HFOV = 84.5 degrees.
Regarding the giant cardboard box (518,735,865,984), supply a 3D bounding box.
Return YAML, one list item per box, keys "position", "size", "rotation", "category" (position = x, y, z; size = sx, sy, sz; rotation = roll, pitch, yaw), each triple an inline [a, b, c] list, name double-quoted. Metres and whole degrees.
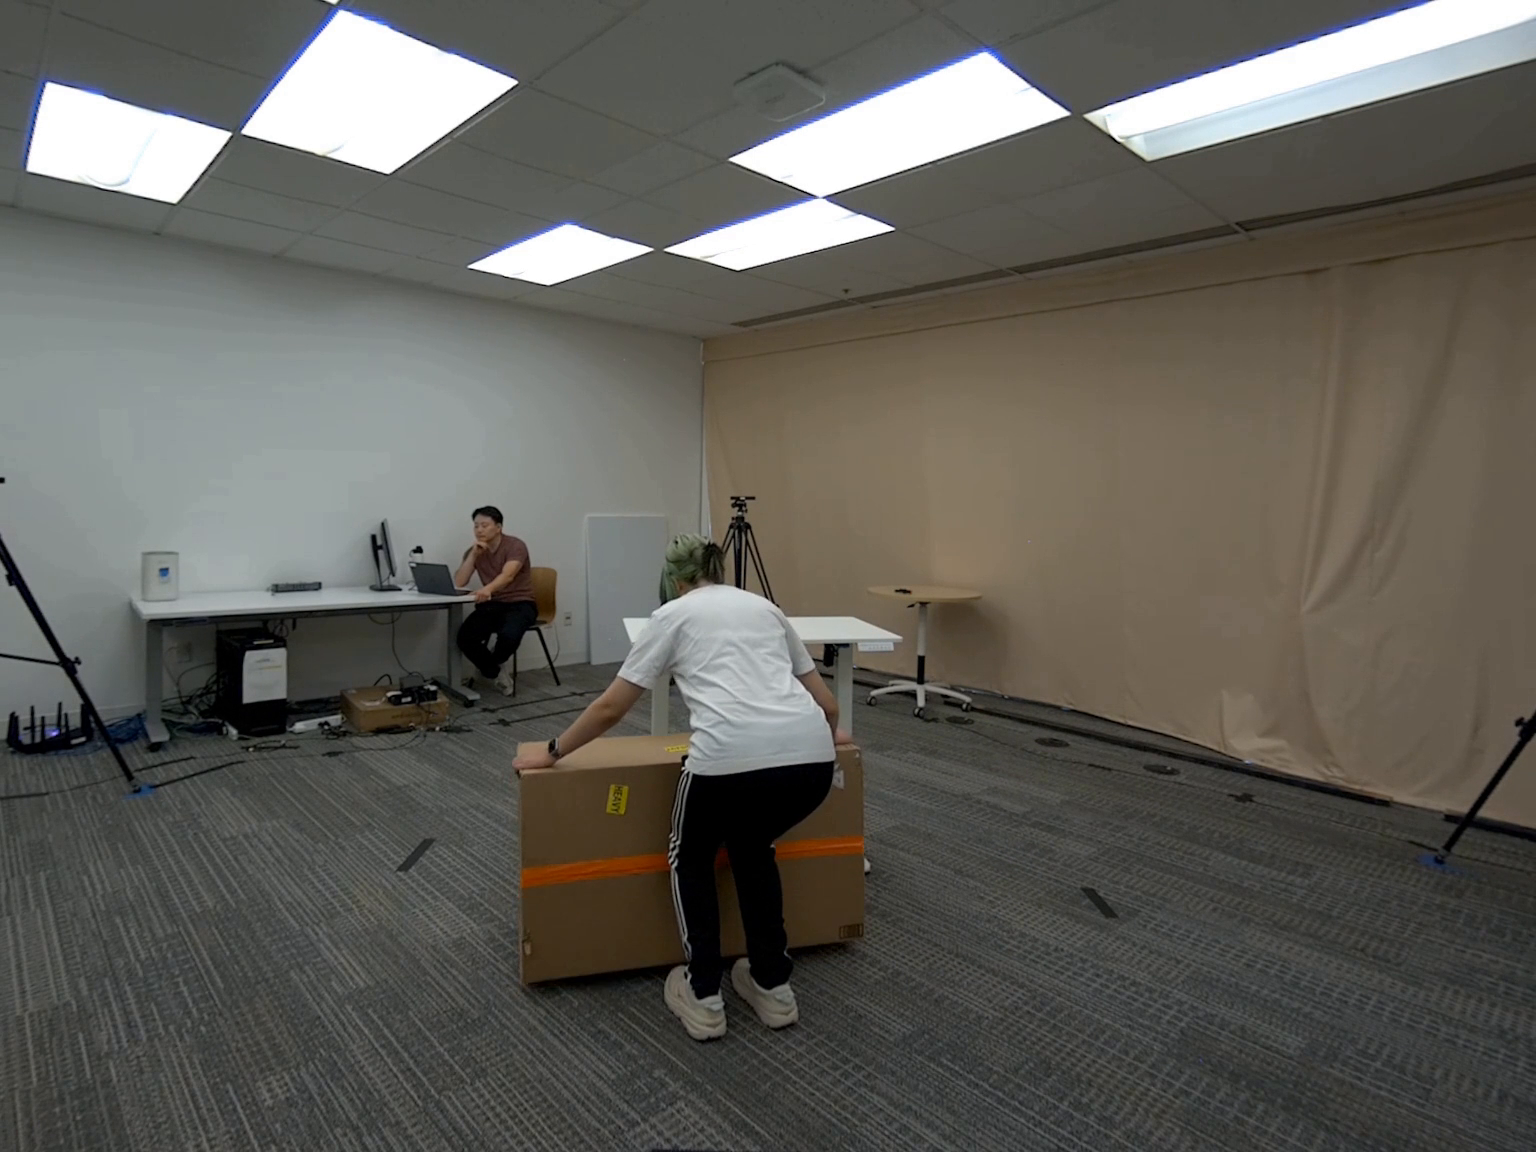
- position: [-0.260, 0.814, 2.633]
  size: [1.014, 0.584, 0.452]
  rotation: [0, -1, -16]
  category: "giant cardboard box"
